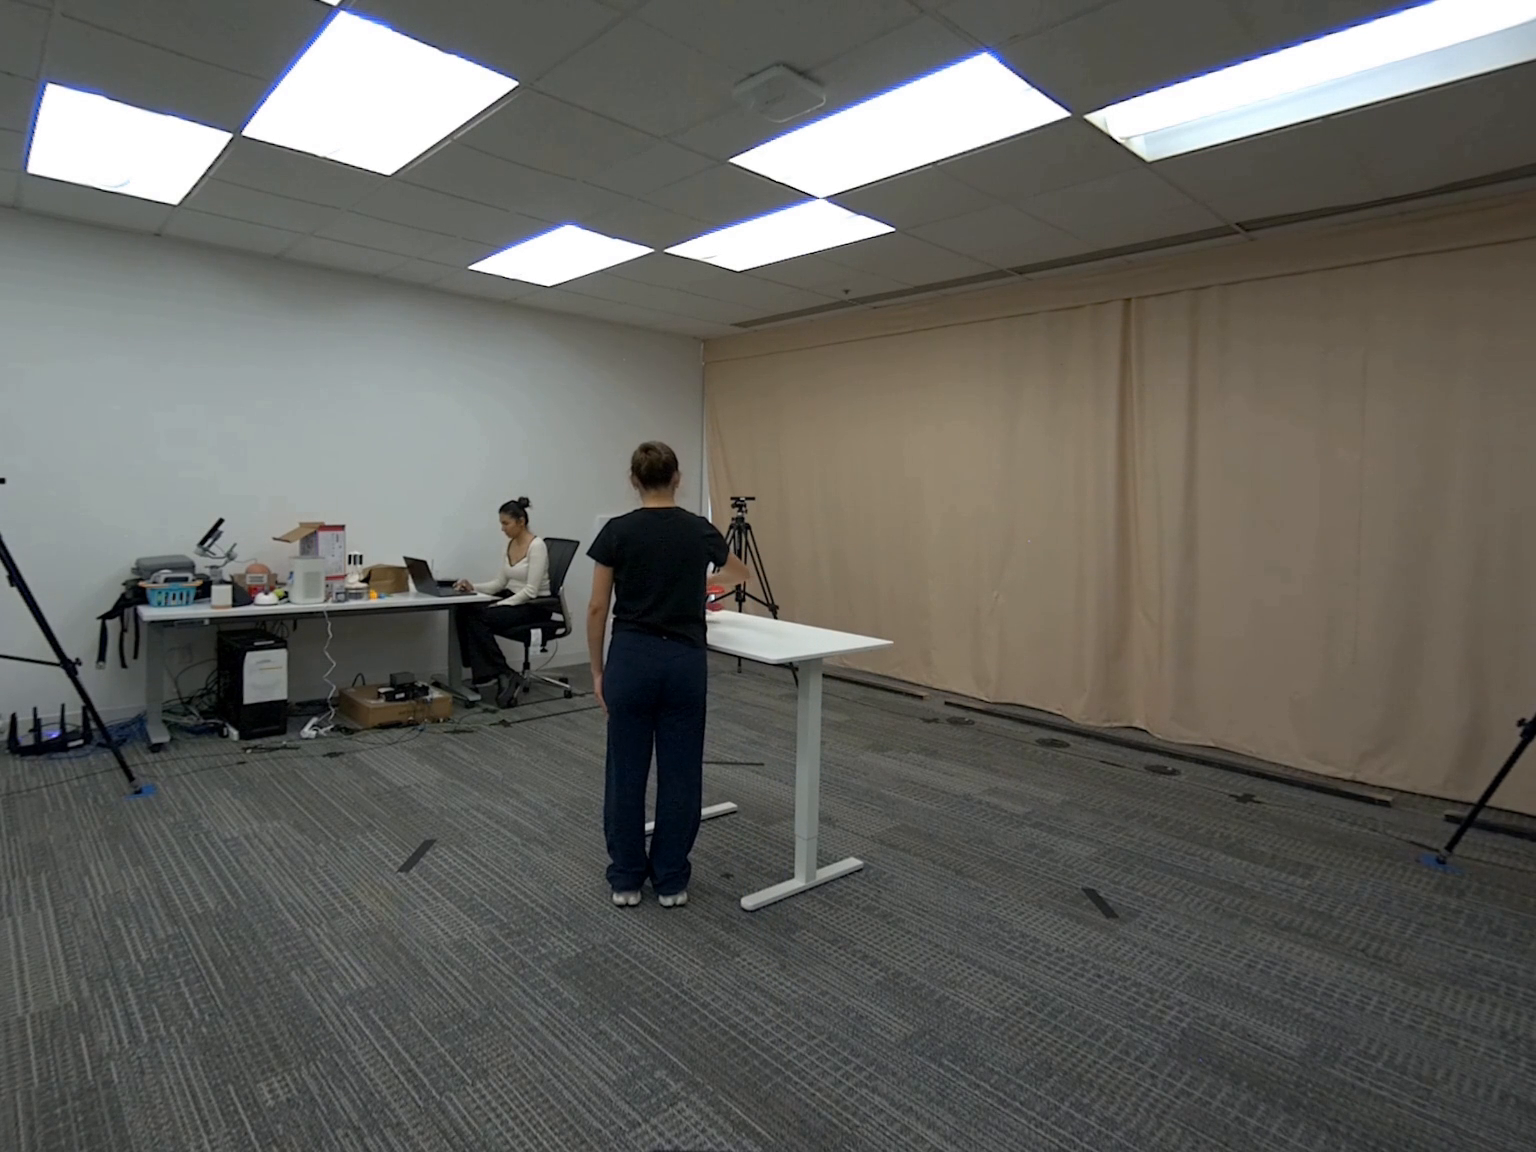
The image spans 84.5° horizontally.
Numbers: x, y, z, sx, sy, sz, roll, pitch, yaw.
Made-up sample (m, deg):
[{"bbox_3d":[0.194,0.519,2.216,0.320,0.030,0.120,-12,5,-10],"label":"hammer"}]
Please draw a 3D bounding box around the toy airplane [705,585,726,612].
[{"bbox_3d":[-0.288,0.121,3.404,0.245,0.156,0.266,-3,6,-40],"label":"toy airplane"}]
